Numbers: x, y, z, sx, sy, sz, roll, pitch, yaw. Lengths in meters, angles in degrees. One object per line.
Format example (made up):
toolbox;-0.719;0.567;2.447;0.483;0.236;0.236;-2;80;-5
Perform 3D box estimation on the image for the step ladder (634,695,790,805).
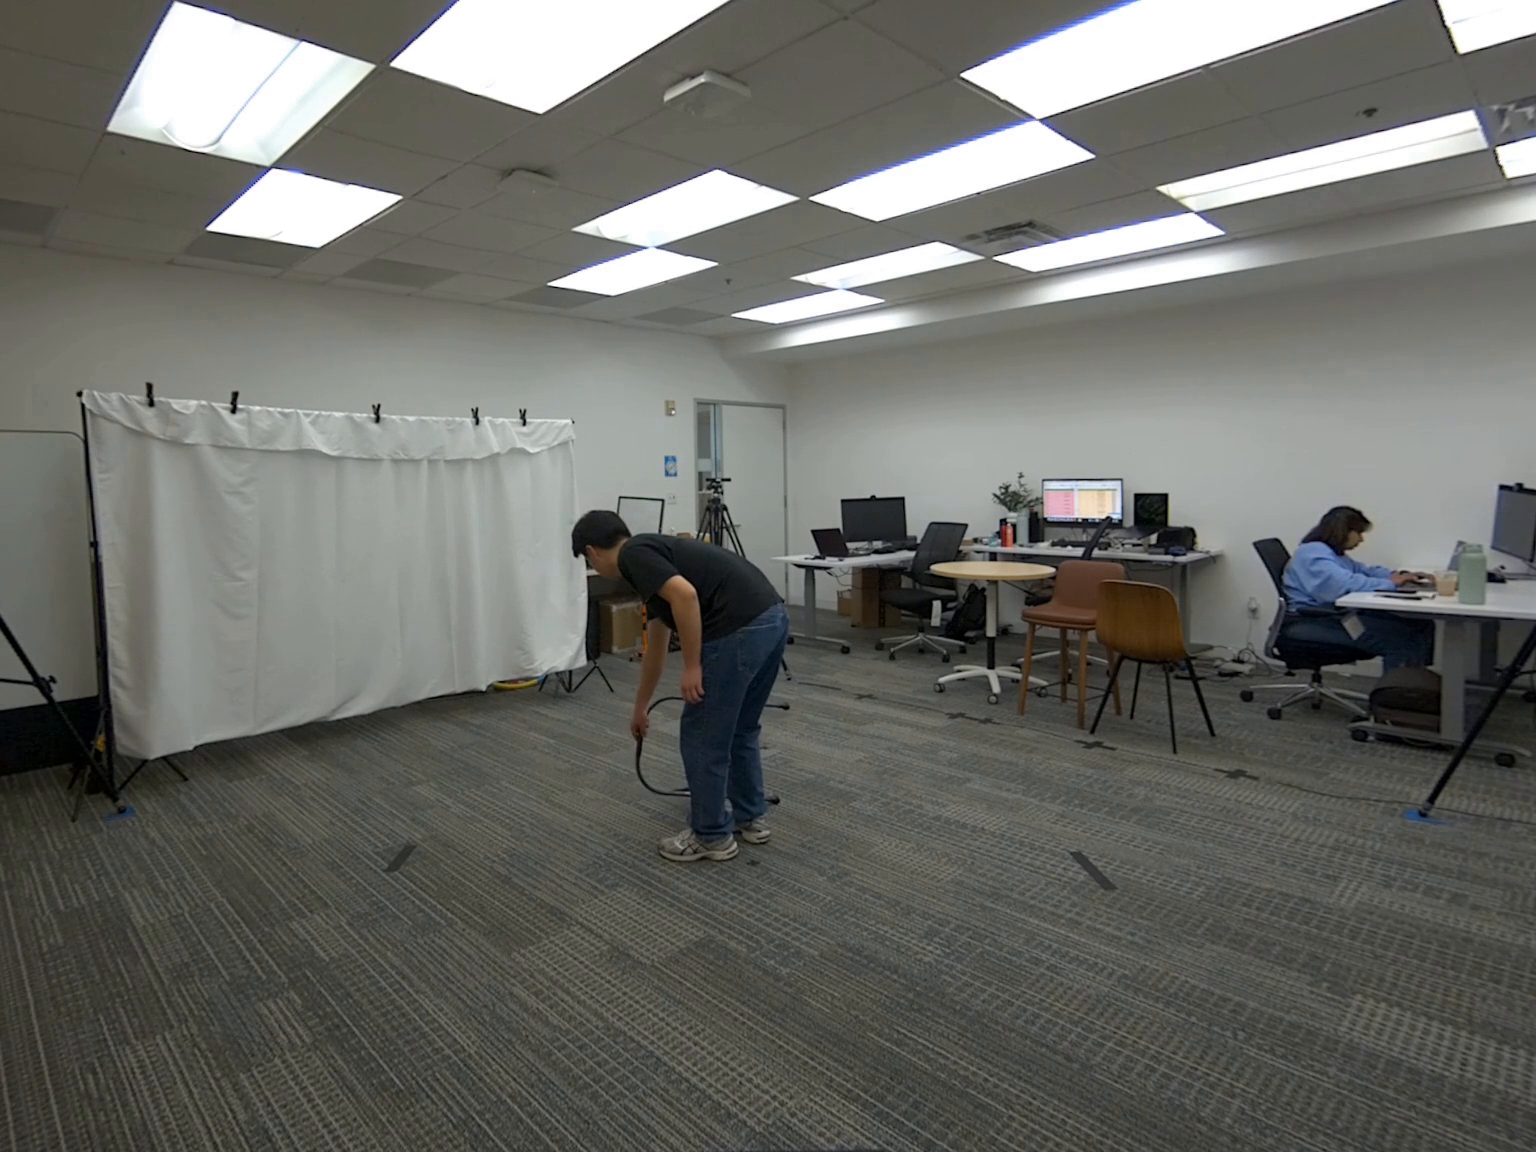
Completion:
step ladder;-0.256;0.716;3.616;0.585;0.433;0.359;12;-9;-43
